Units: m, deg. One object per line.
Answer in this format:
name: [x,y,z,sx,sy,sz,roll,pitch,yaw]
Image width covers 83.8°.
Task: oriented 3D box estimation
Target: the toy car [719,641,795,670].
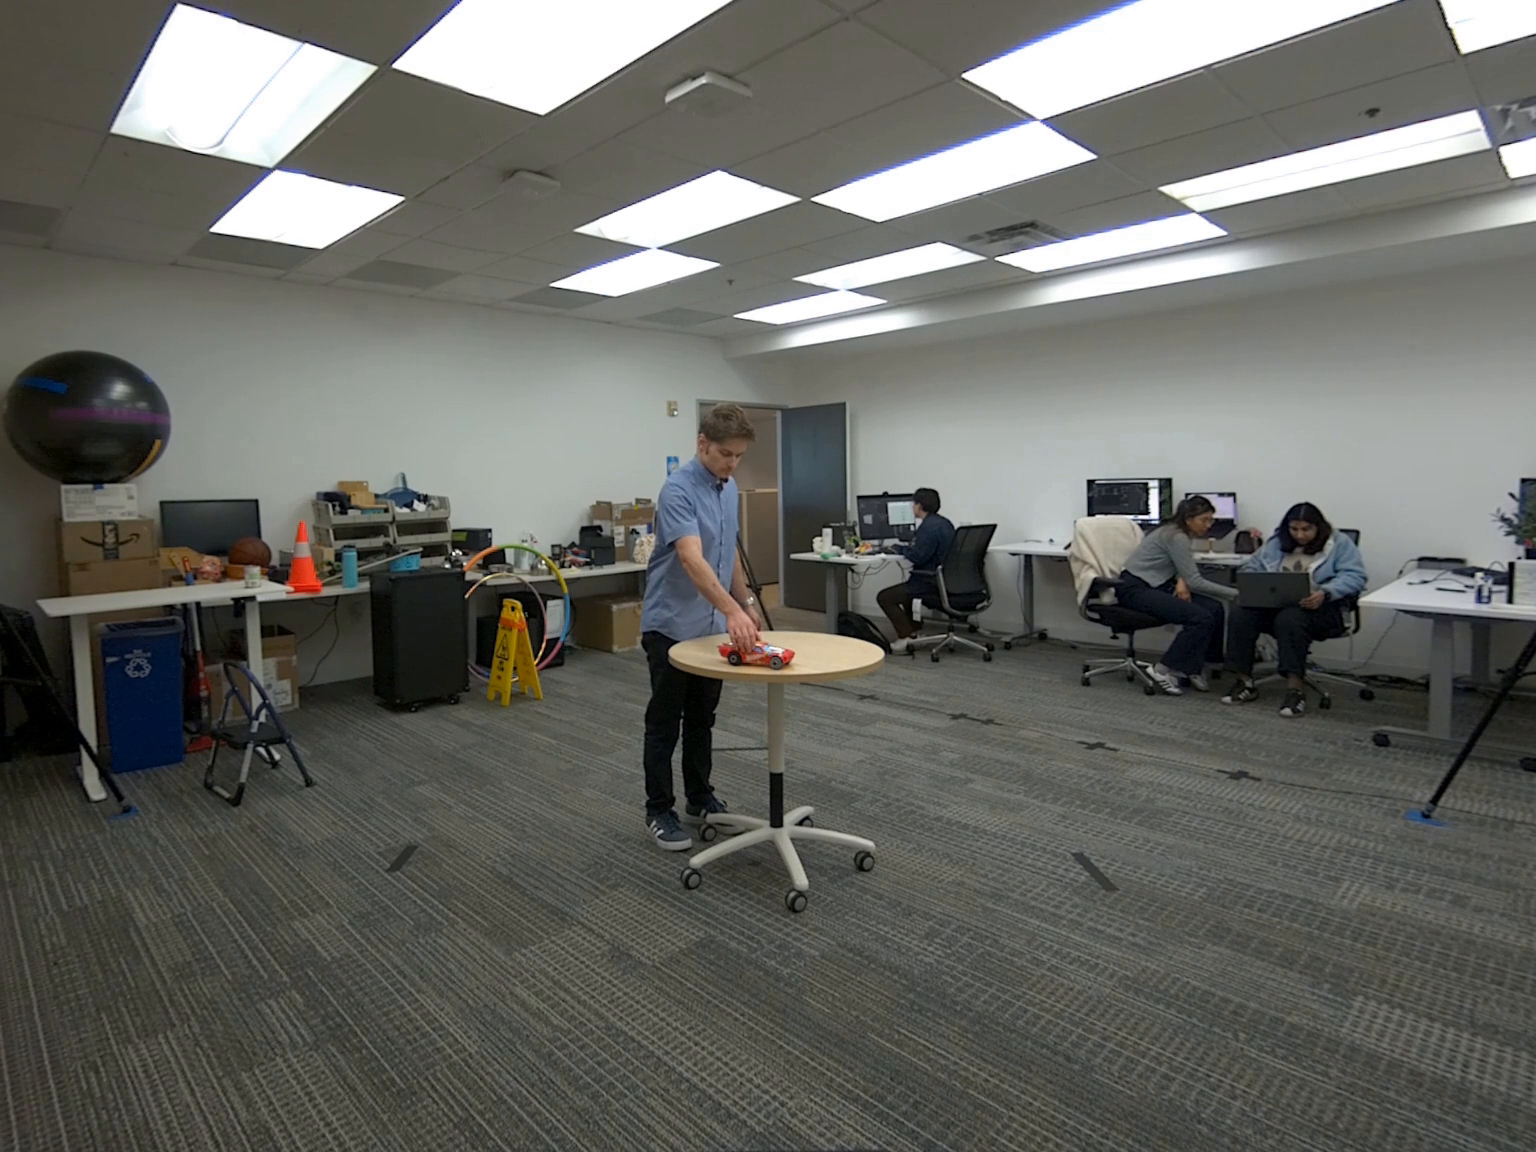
toy car: [-0.042,0.261,2.828,0.261,0.083,0.128,13,9,22]
